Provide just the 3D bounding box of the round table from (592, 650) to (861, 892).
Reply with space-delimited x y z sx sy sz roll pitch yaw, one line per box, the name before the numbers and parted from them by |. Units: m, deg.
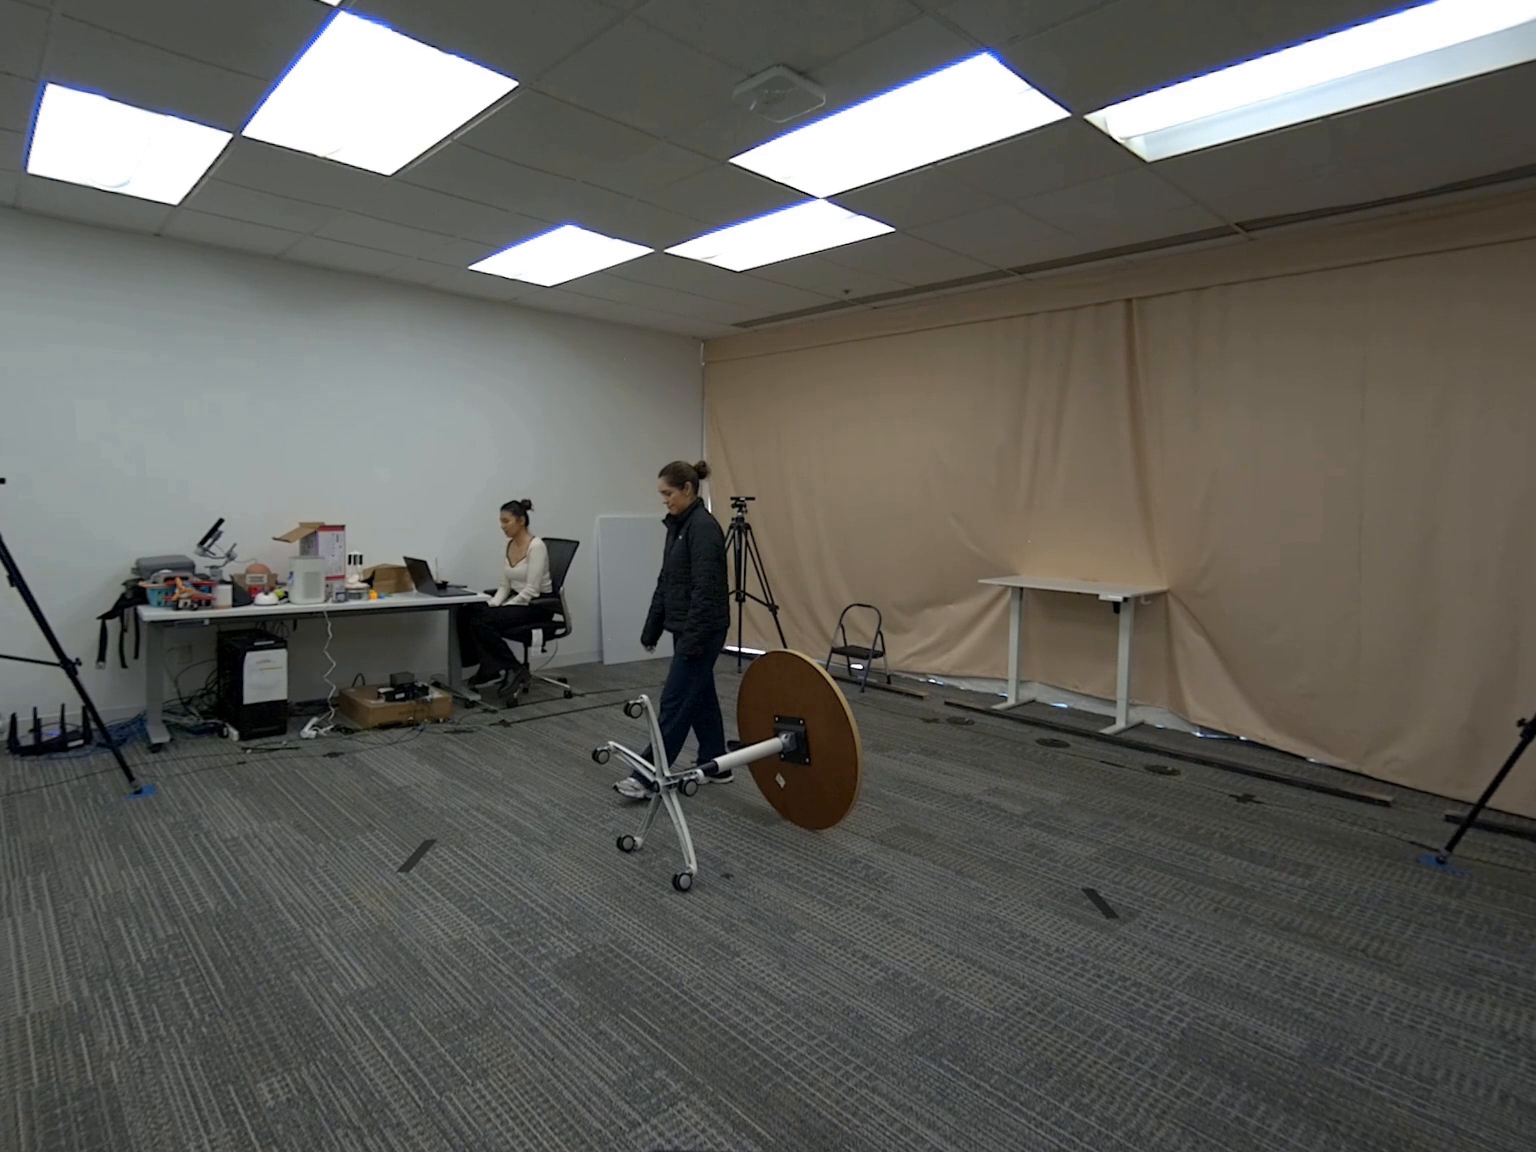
round table | -0.187 0.748 3.337 0.771 0.781 0.805 -9 10 -38
